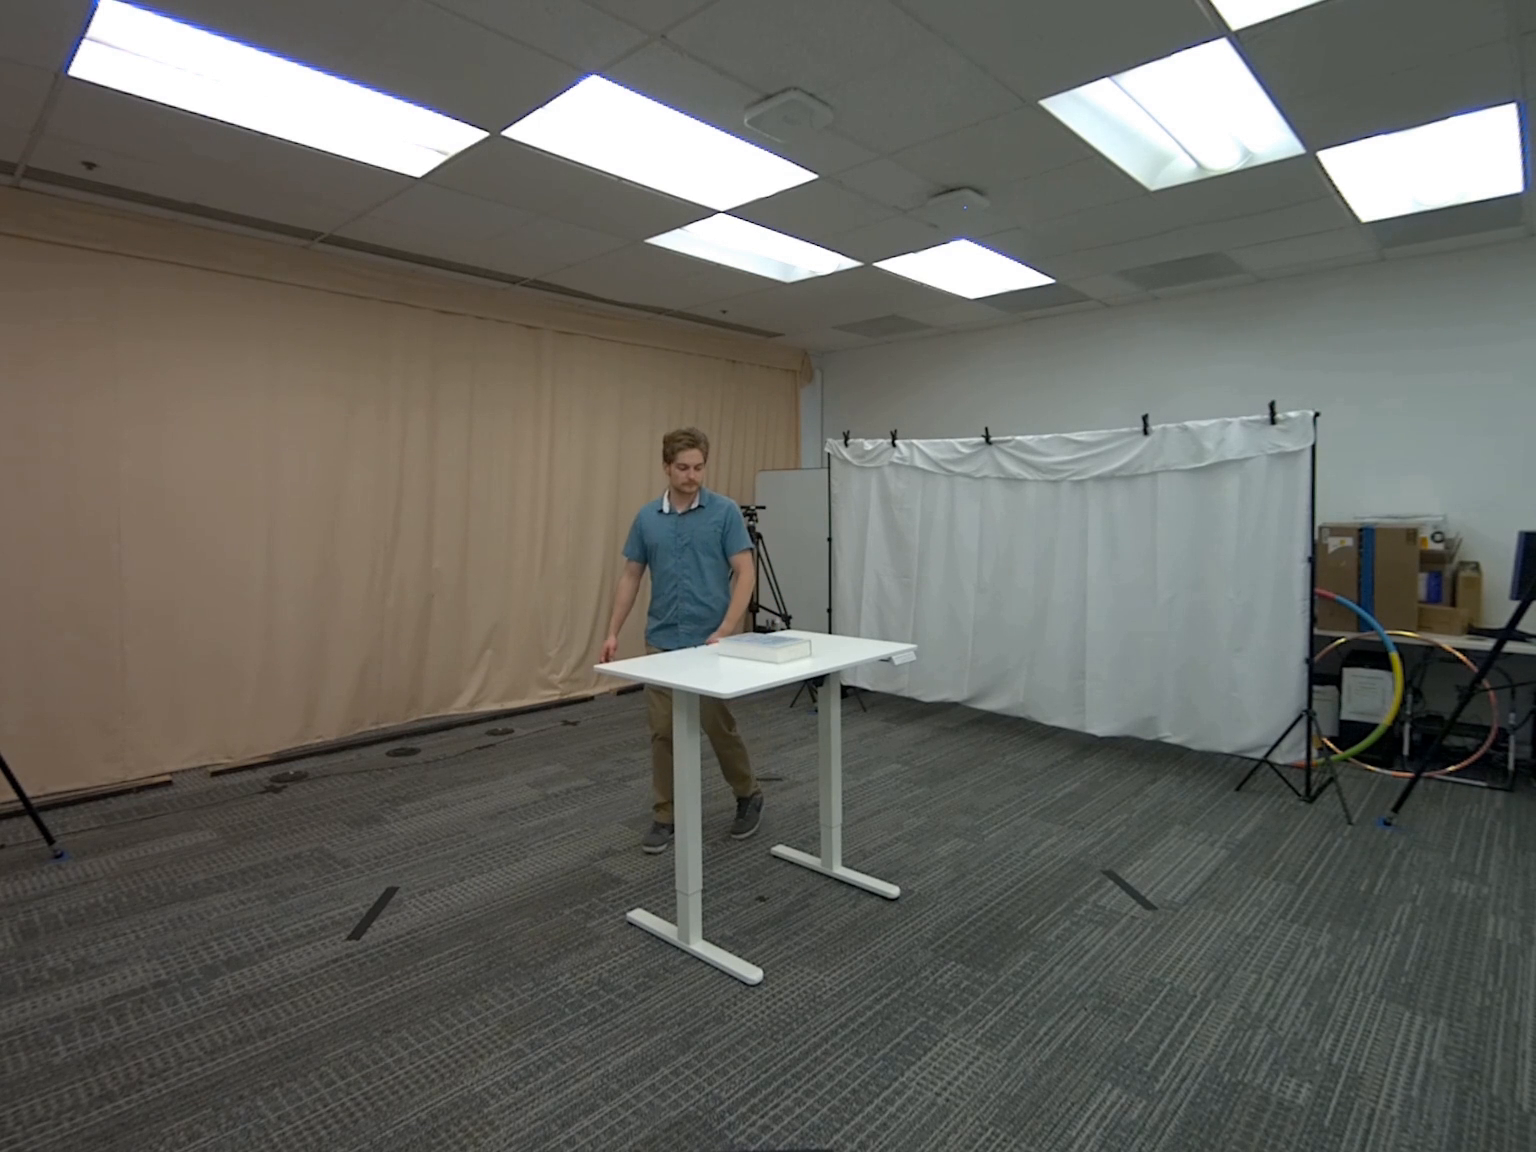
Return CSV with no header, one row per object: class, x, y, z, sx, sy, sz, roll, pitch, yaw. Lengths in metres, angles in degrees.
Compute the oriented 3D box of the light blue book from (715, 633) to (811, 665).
light blue book,-0.012,0.242,2.863,0.270,0.059,0.185,4,6,41
